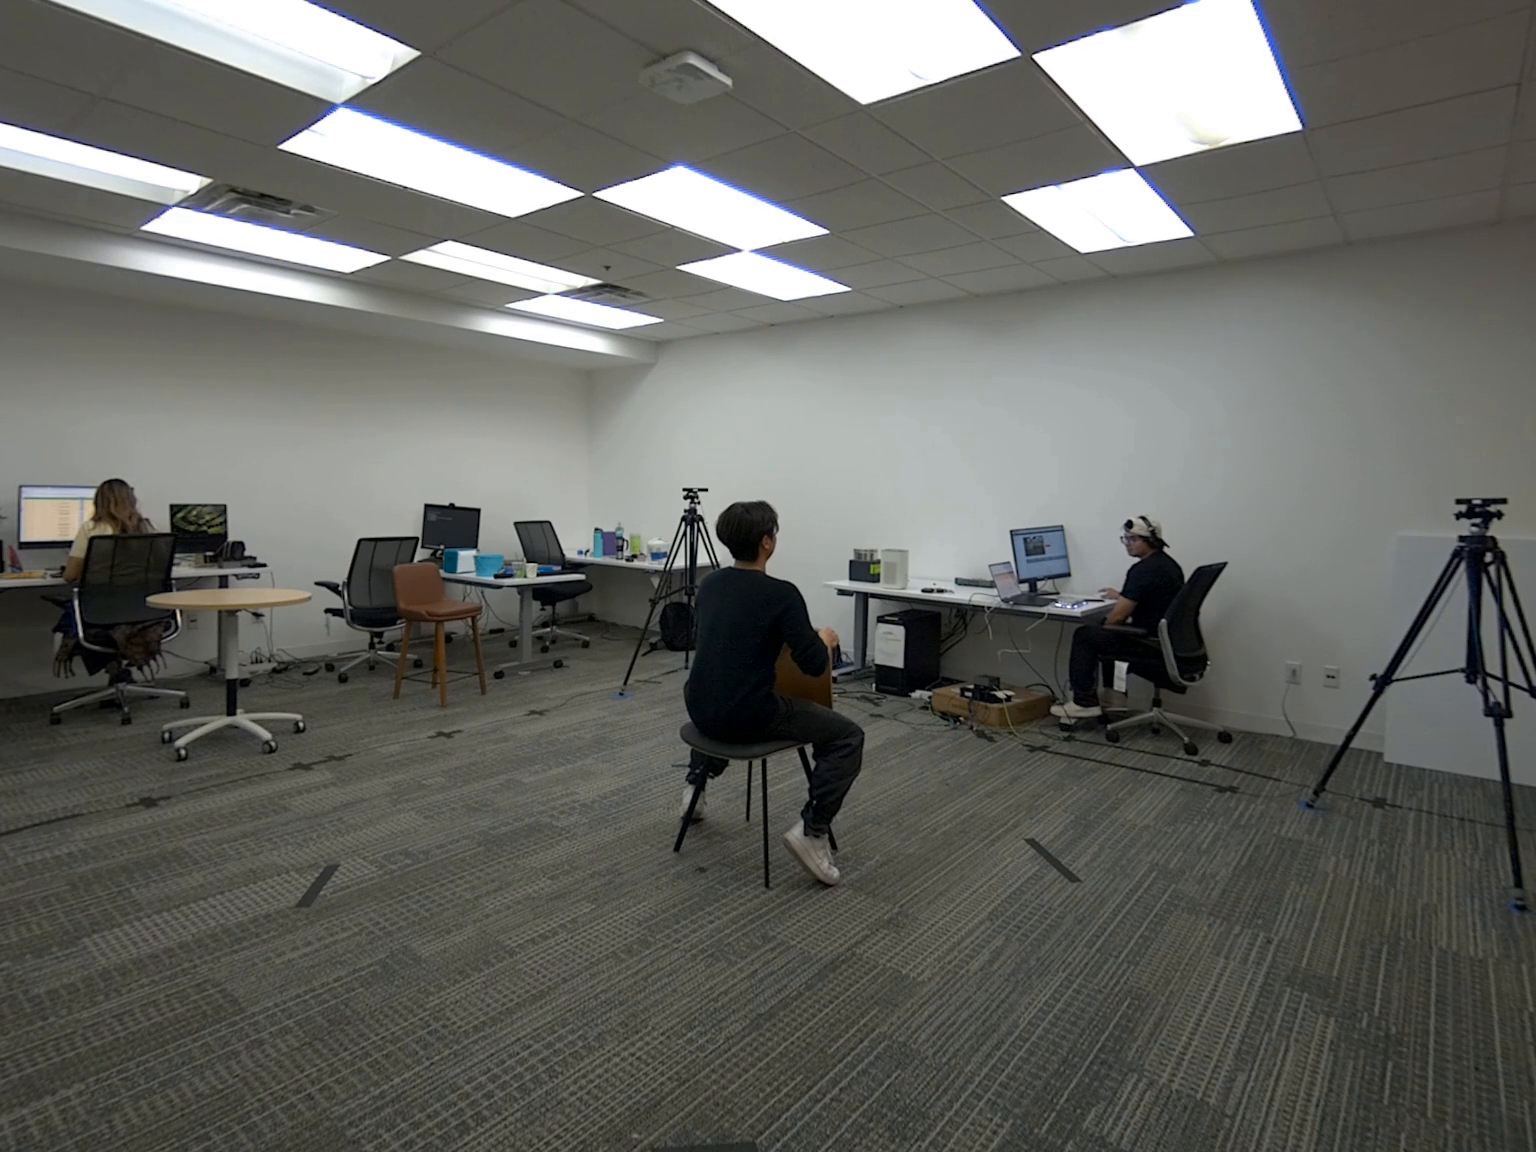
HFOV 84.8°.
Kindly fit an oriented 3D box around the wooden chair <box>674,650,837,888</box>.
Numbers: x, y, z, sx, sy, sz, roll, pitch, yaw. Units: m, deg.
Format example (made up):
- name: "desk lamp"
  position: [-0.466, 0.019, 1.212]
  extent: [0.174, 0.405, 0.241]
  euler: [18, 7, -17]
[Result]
- name: "wooden chair"
  position: [-0.049, 0.635, 3.248]
  extent: [0.494, 0.877, 0.506]
  euler: [3, 0, 38]
